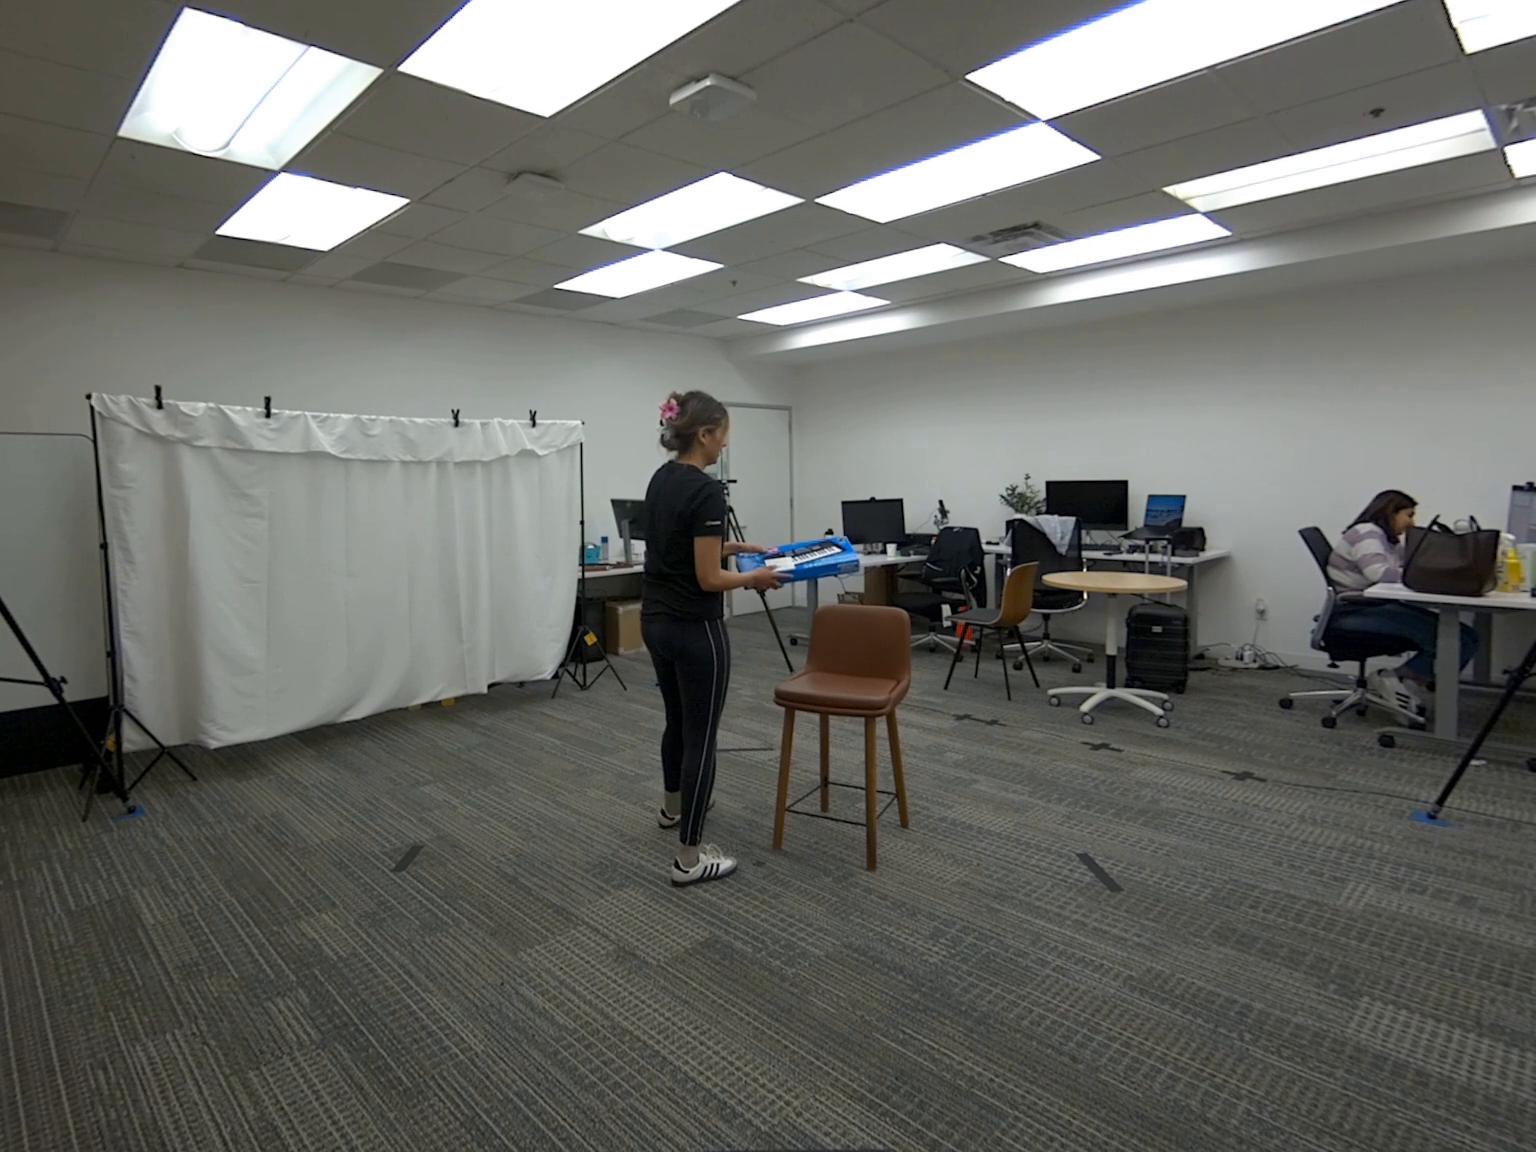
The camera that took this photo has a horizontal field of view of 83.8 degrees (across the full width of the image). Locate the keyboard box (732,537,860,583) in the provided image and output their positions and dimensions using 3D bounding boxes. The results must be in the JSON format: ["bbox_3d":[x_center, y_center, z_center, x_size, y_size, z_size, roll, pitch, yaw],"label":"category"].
[{"bbox_3d":[0.105,-0.047,3.212,0.435,0.057,0.181,-10,34,-5],"label":"keyboard box"}]
